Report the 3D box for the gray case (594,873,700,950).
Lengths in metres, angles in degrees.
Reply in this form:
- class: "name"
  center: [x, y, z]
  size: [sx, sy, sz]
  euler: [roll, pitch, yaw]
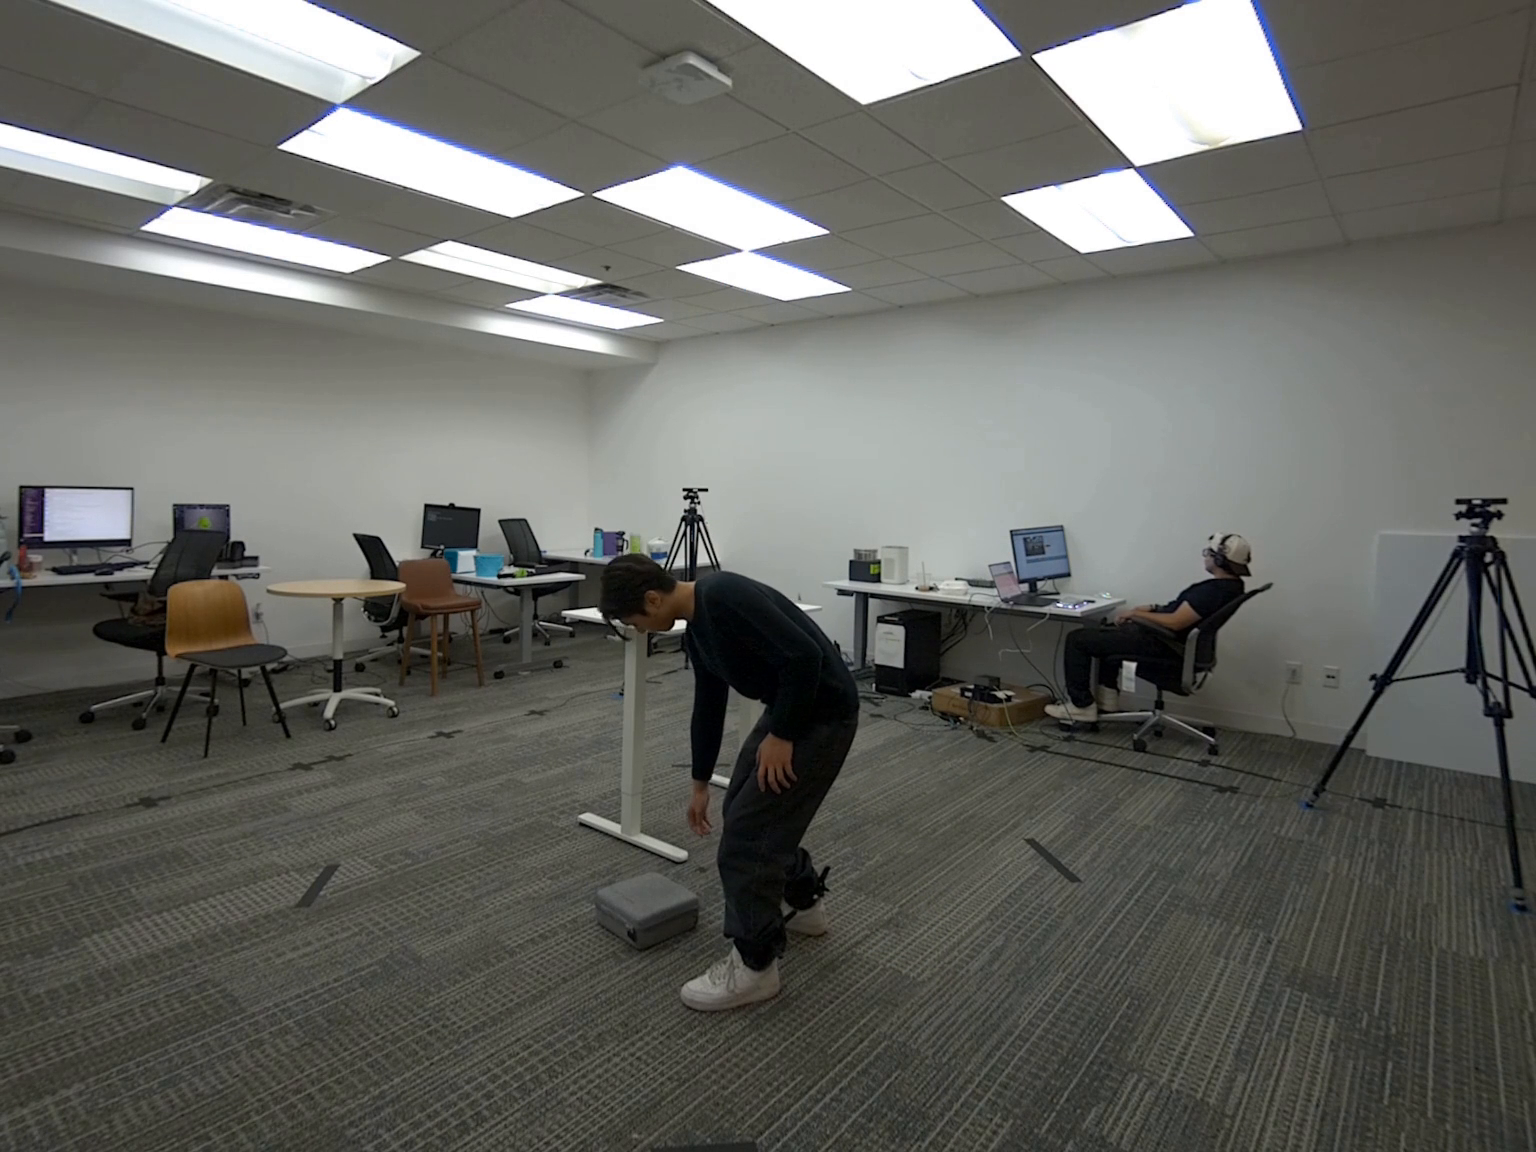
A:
- class: "gray case"
  center: [-0.387, 1.045, 2.705]
  size: [0.252, 0.104, 0.265]
  euler: [-3, 5, -45]
